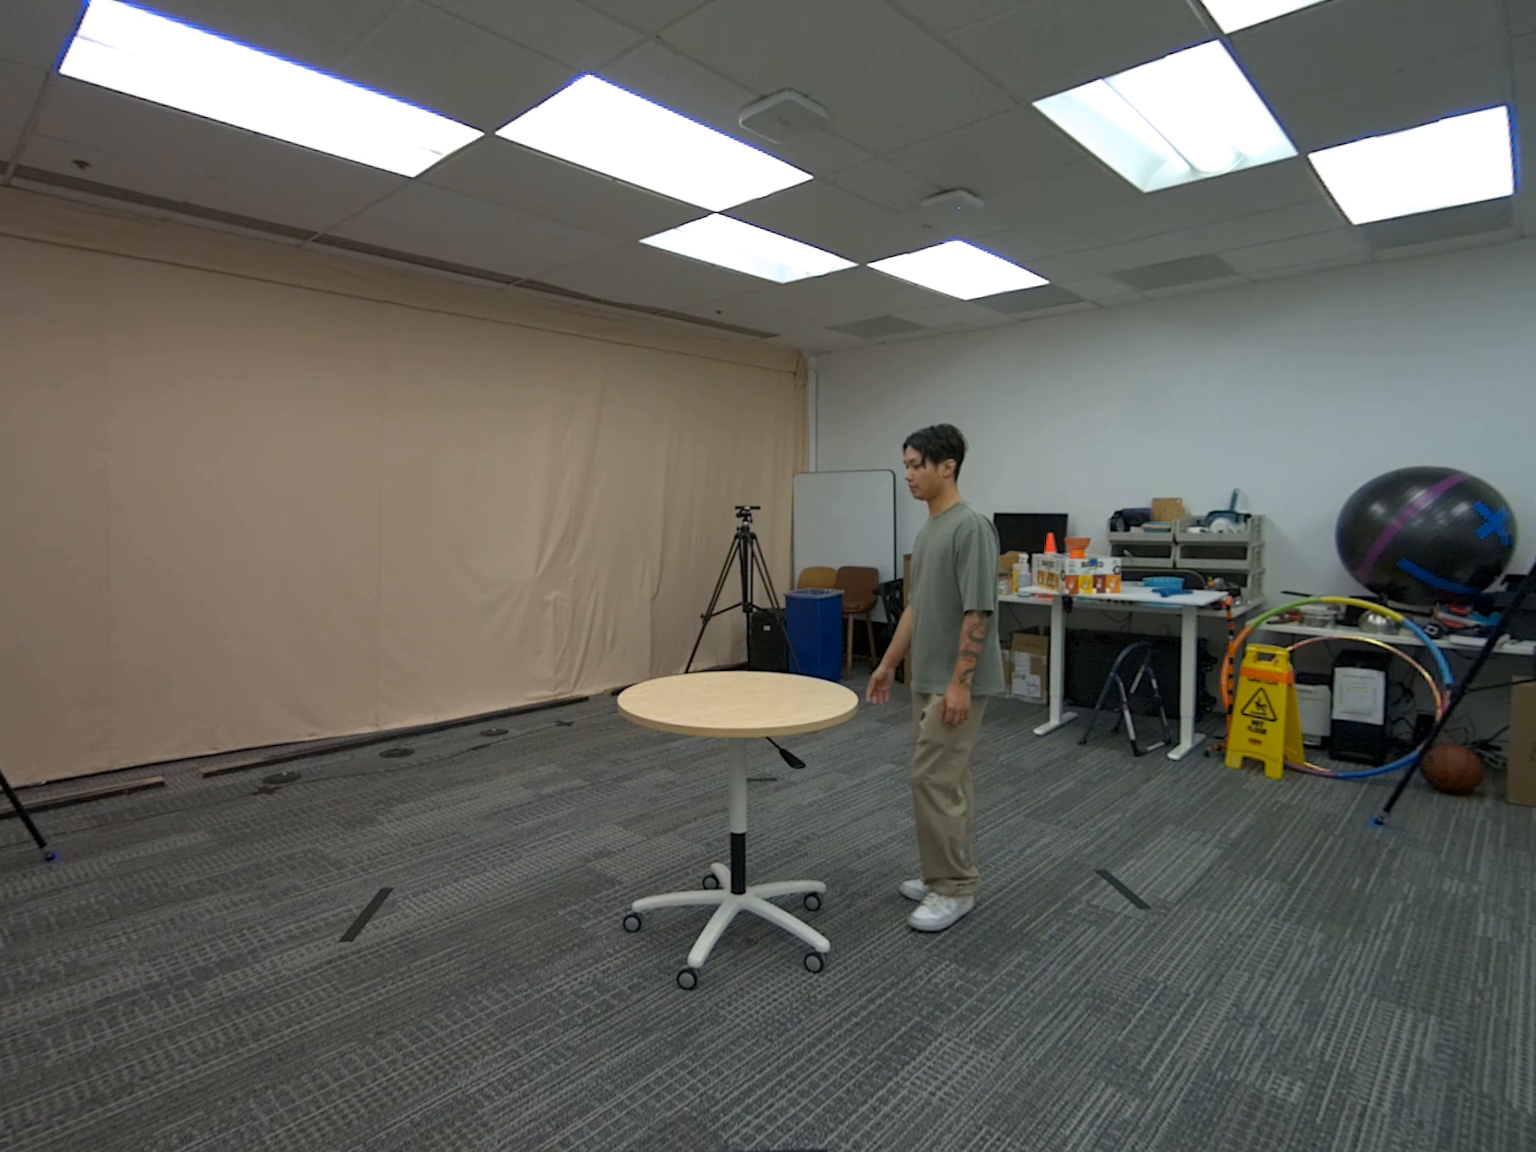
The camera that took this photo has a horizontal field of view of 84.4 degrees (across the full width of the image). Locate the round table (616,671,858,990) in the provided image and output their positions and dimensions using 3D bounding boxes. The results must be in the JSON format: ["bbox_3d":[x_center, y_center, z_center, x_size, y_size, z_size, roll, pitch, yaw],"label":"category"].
[{"bbox_3d":[-0.109,0.778,2.713,0.784,0.785,0.788,0,4,-2],"label":"round table"}]
